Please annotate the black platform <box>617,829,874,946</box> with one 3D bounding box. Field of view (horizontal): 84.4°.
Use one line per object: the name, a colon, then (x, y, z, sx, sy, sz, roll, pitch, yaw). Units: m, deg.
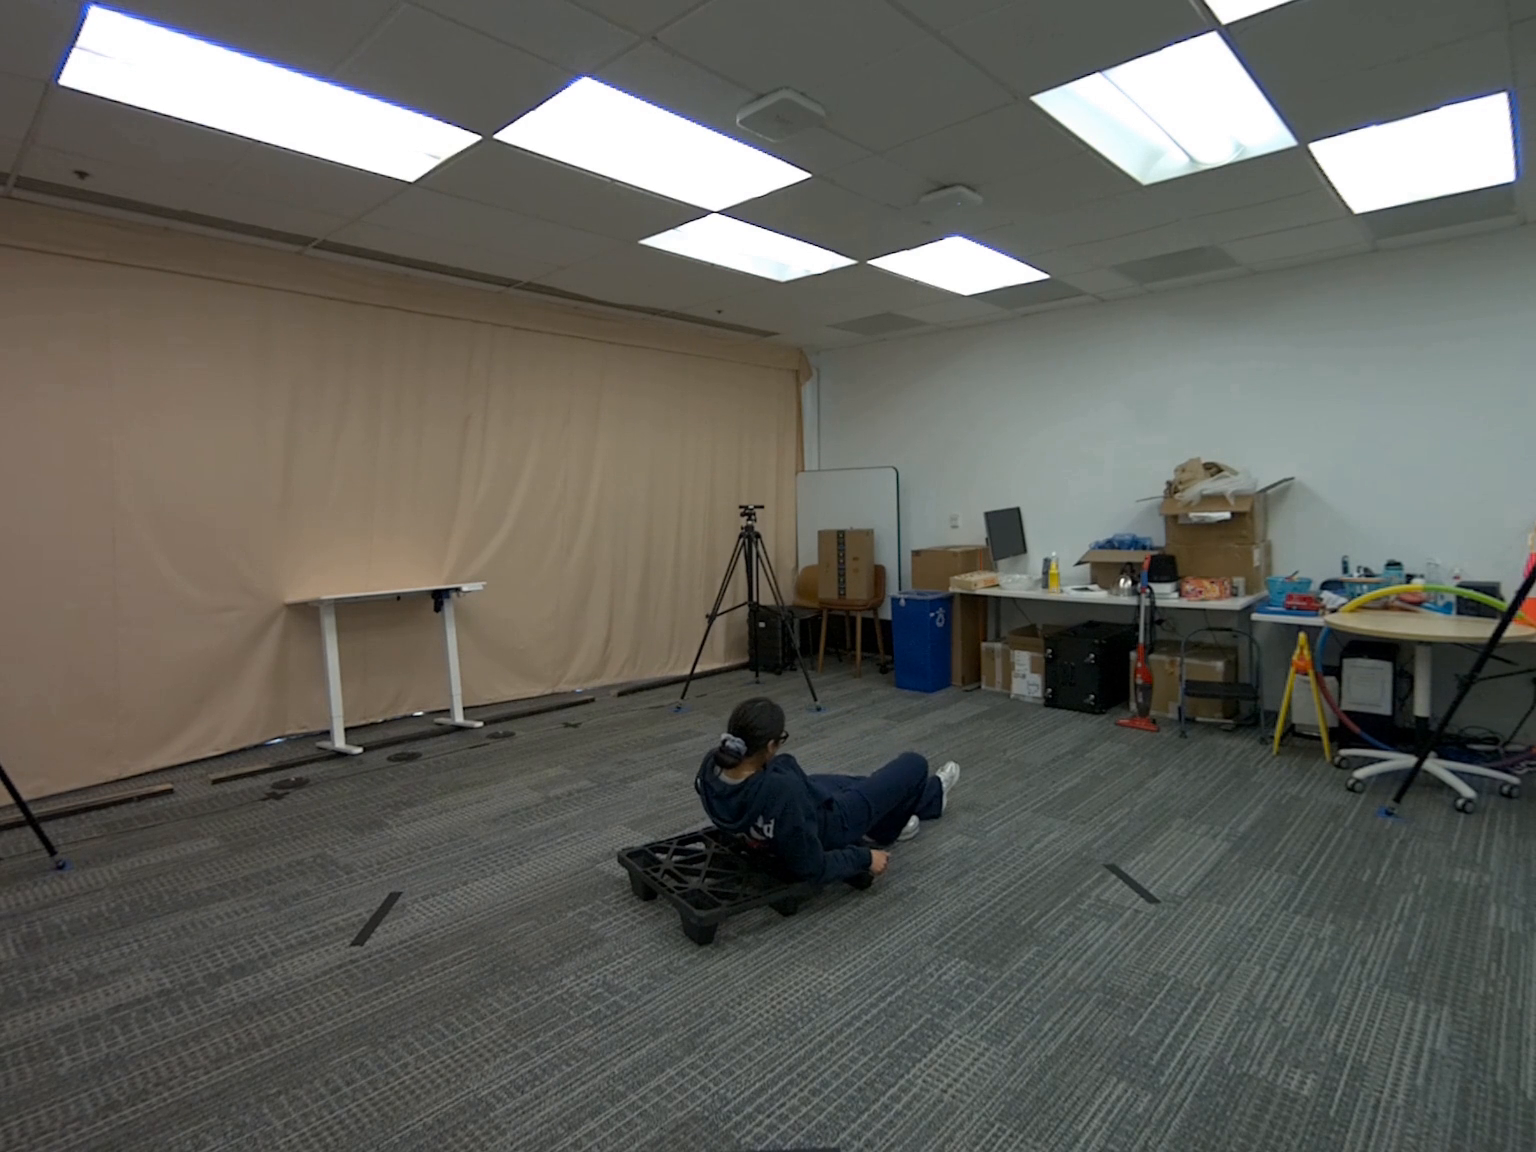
black platform: (-0.064, 1.077, 3.047, 0.783, 0.143, 0.623, -3, 5, -33)
